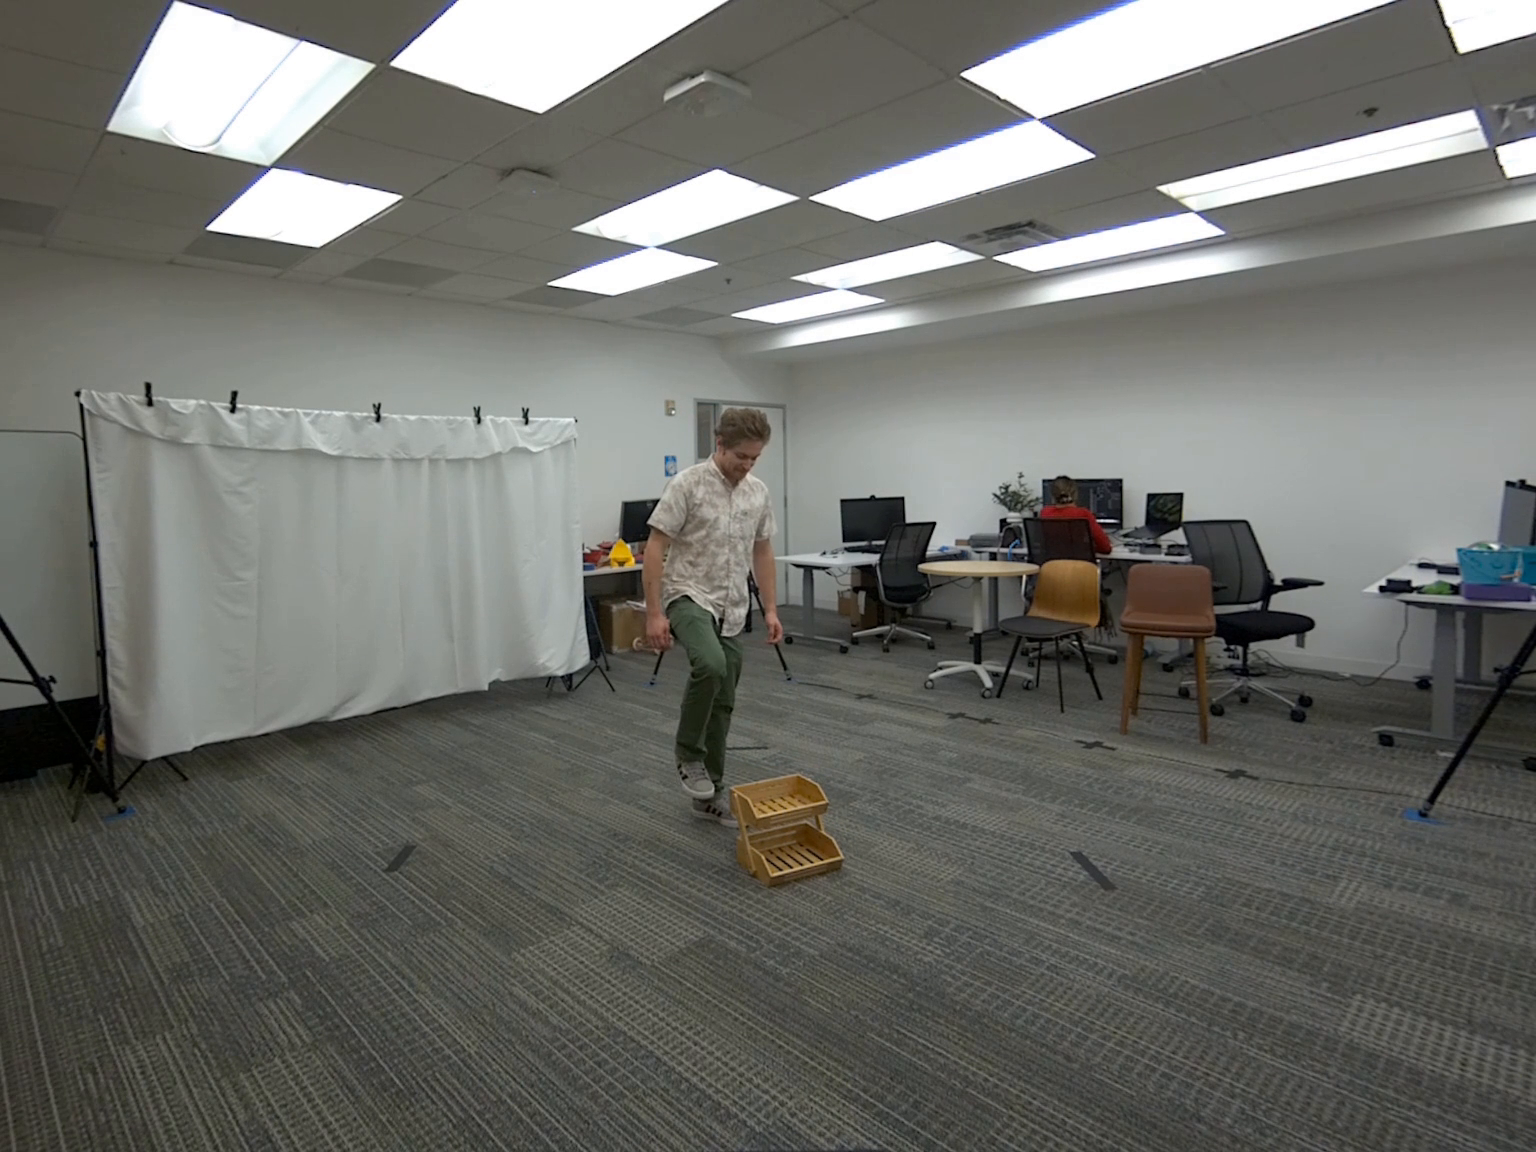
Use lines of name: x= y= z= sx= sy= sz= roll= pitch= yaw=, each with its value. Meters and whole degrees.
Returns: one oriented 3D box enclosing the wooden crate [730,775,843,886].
wooden crate: x=0.068 y=0.911 z=3.087 sx=0.317 sy=0.272 sz=0.310 roll=-4 pitch=5 yaw=-29
